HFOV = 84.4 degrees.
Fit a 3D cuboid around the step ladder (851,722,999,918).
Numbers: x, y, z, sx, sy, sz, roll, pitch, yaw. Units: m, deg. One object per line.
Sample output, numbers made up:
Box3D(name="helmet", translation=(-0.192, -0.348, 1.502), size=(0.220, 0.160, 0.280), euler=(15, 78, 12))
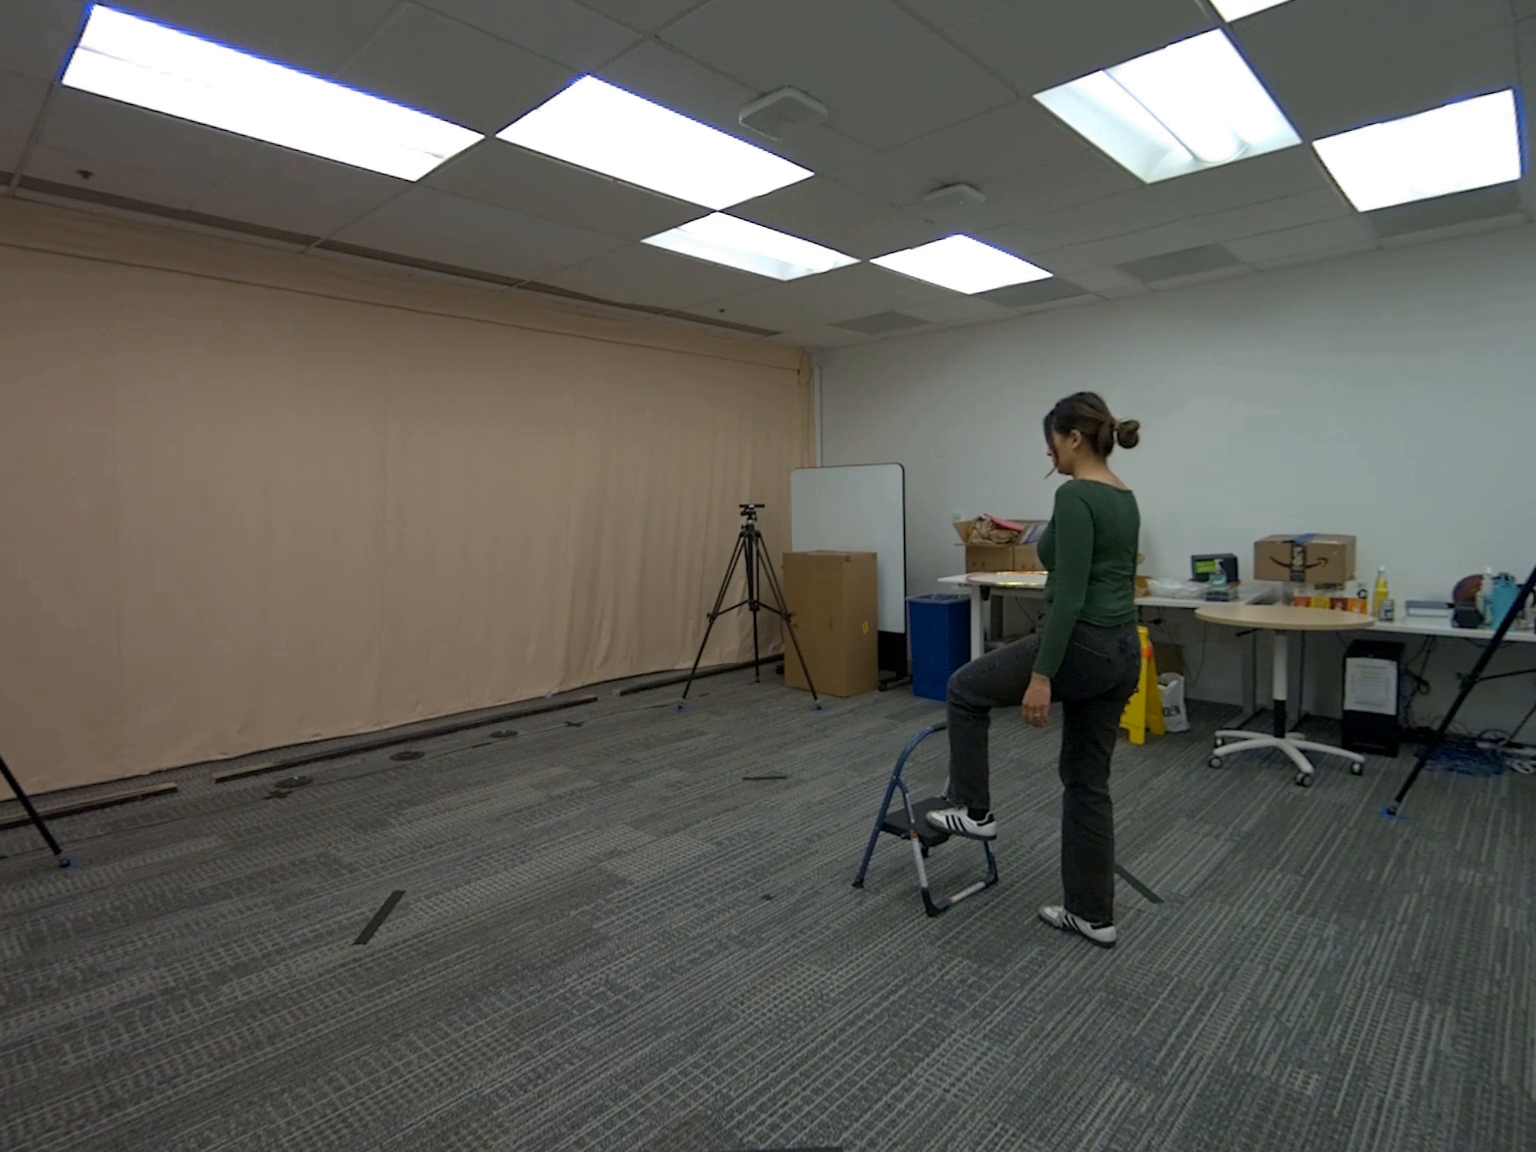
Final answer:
Box3D(name="step ladder", translation=(0.575, 0.819, 3.055), size=(0.417, 0.605, 0.361), euler=(-4, 5, -43))
